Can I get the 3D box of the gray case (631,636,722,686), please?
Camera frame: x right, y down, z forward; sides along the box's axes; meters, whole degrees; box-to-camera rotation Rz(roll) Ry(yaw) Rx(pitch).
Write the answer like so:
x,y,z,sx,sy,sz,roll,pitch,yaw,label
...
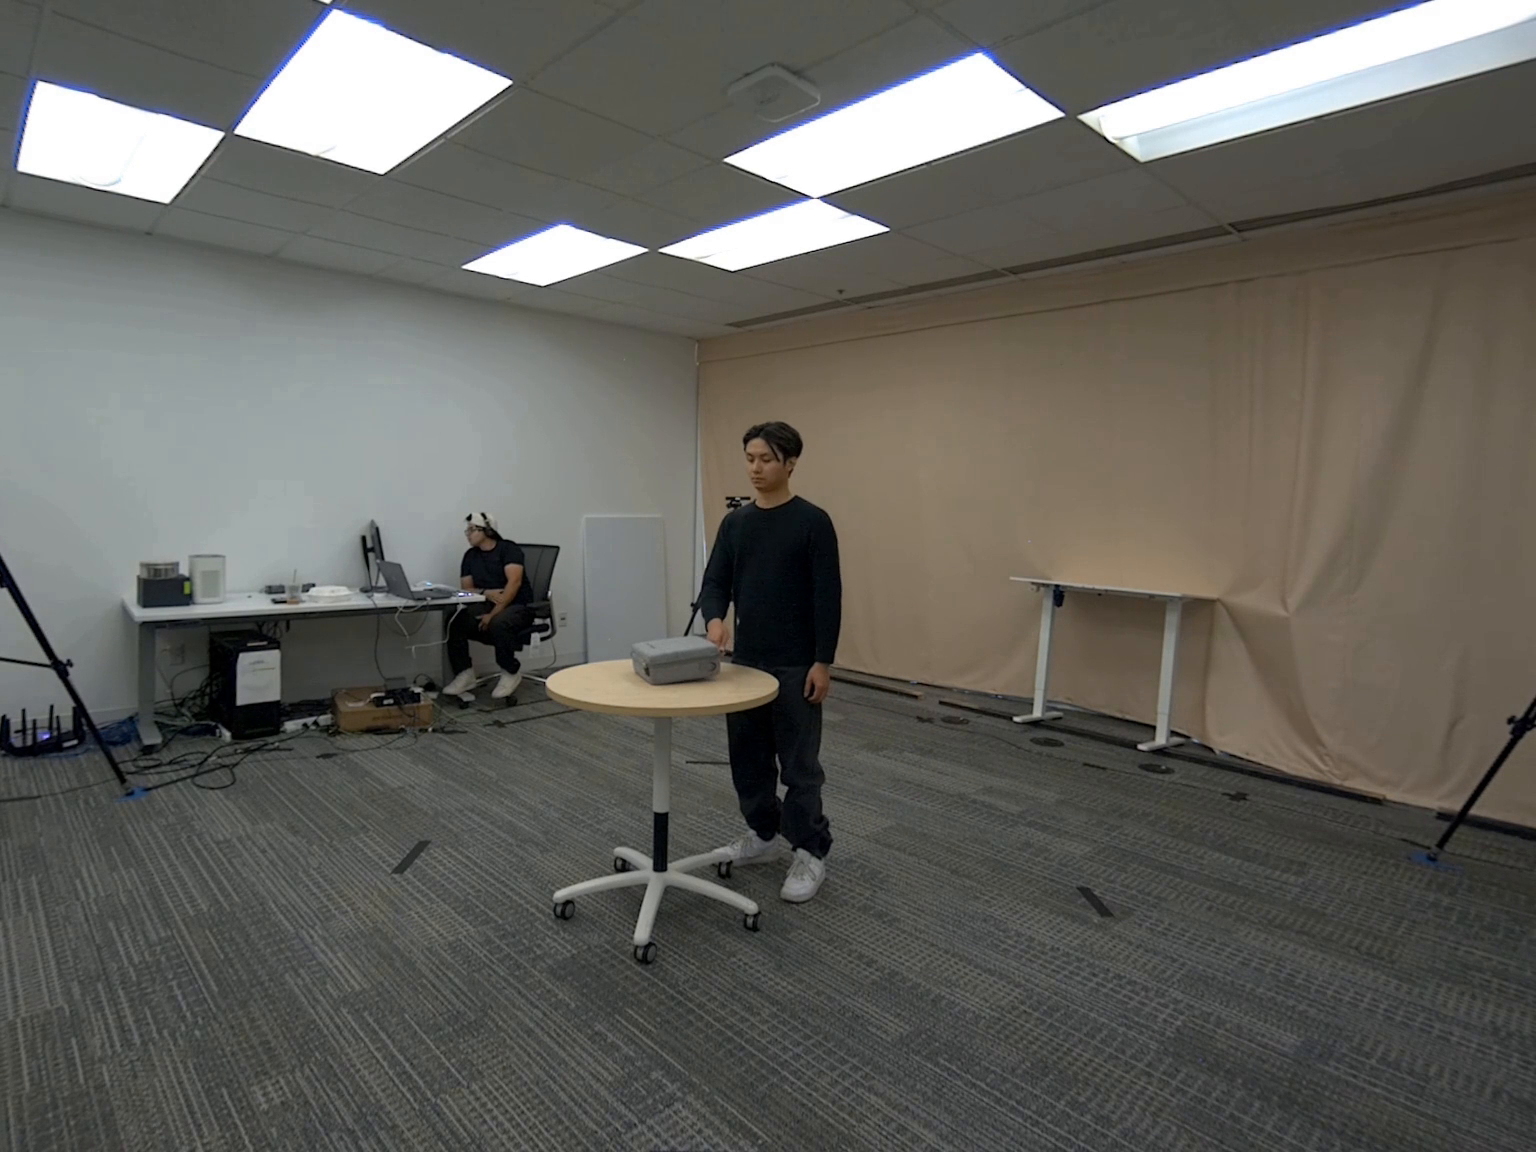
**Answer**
x,y,z,sx,sy,sz,roll,pitch,yaw,label
-0.322,0.281,2.846,0.257,0.104,0.261,-6,7,-21,gray case
